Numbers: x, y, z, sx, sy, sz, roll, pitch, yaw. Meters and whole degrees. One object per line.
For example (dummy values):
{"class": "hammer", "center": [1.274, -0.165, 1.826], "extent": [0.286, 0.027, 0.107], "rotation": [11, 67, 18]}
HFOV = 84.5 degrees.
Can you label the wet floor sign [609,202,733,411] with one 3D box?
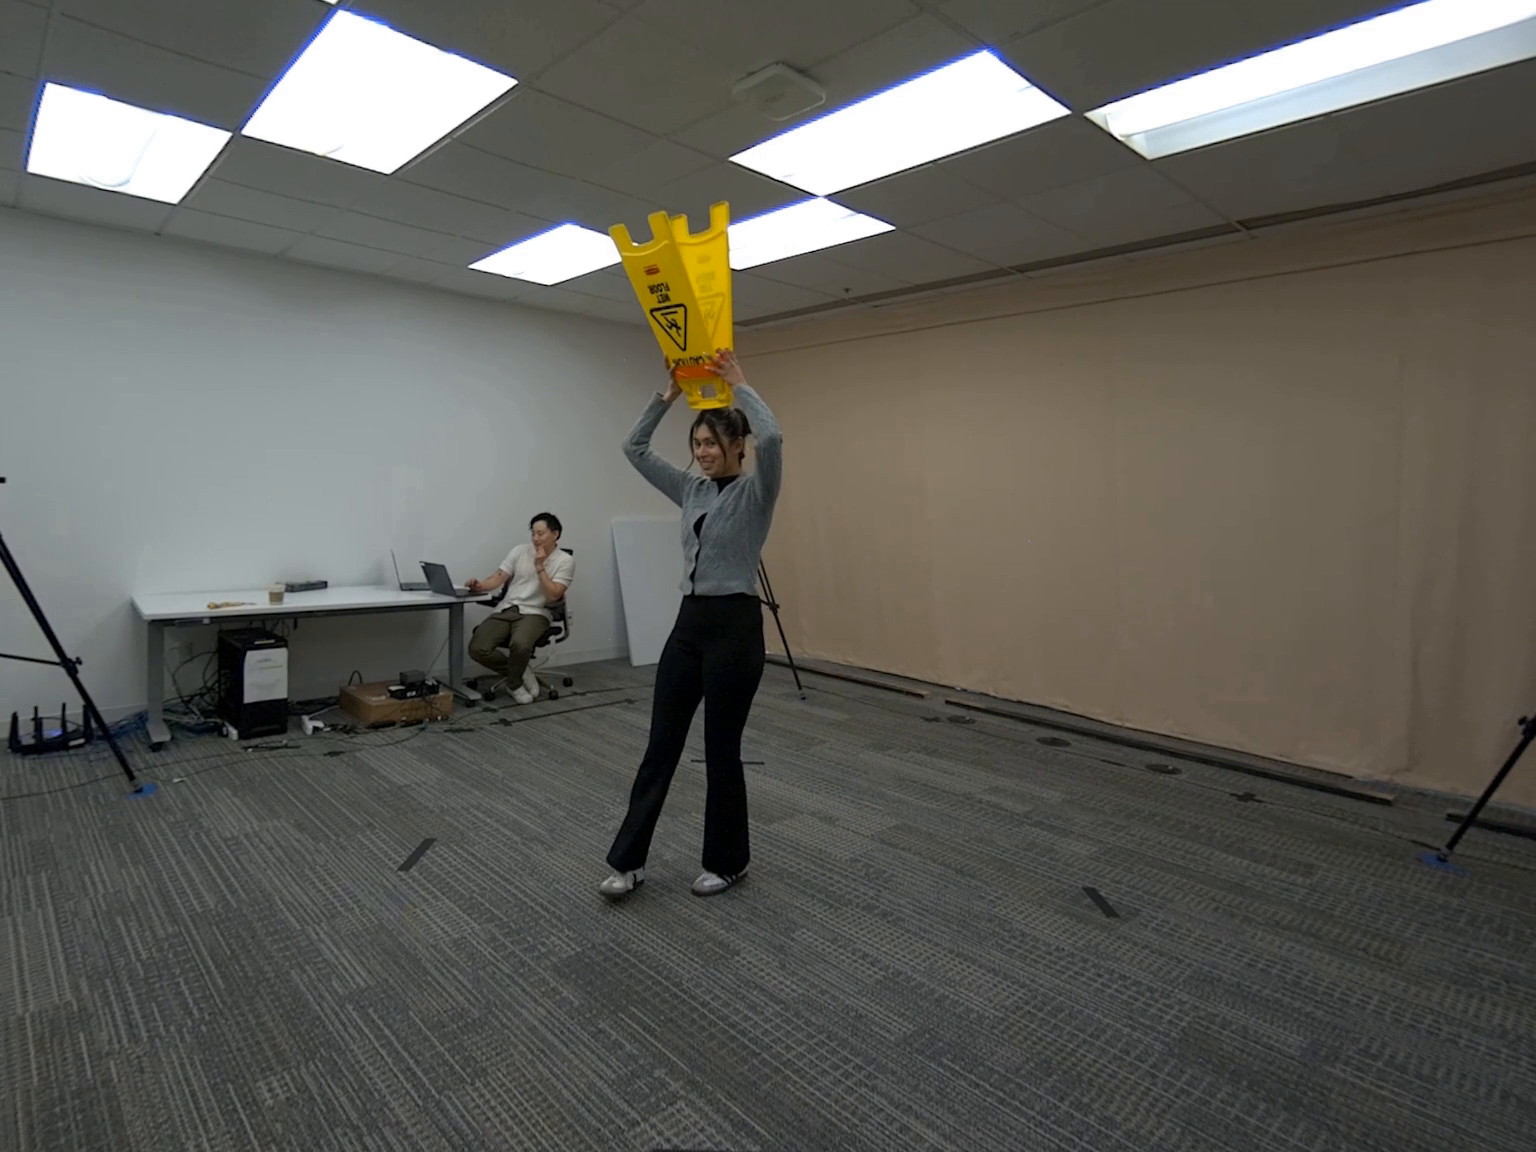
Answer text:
{"class": "wet floor sign", "center": [-0.262, -0.878, 2.831], "extent": [0.289, 0.635, 0.287], "rotation": [6, 27, 44]}
